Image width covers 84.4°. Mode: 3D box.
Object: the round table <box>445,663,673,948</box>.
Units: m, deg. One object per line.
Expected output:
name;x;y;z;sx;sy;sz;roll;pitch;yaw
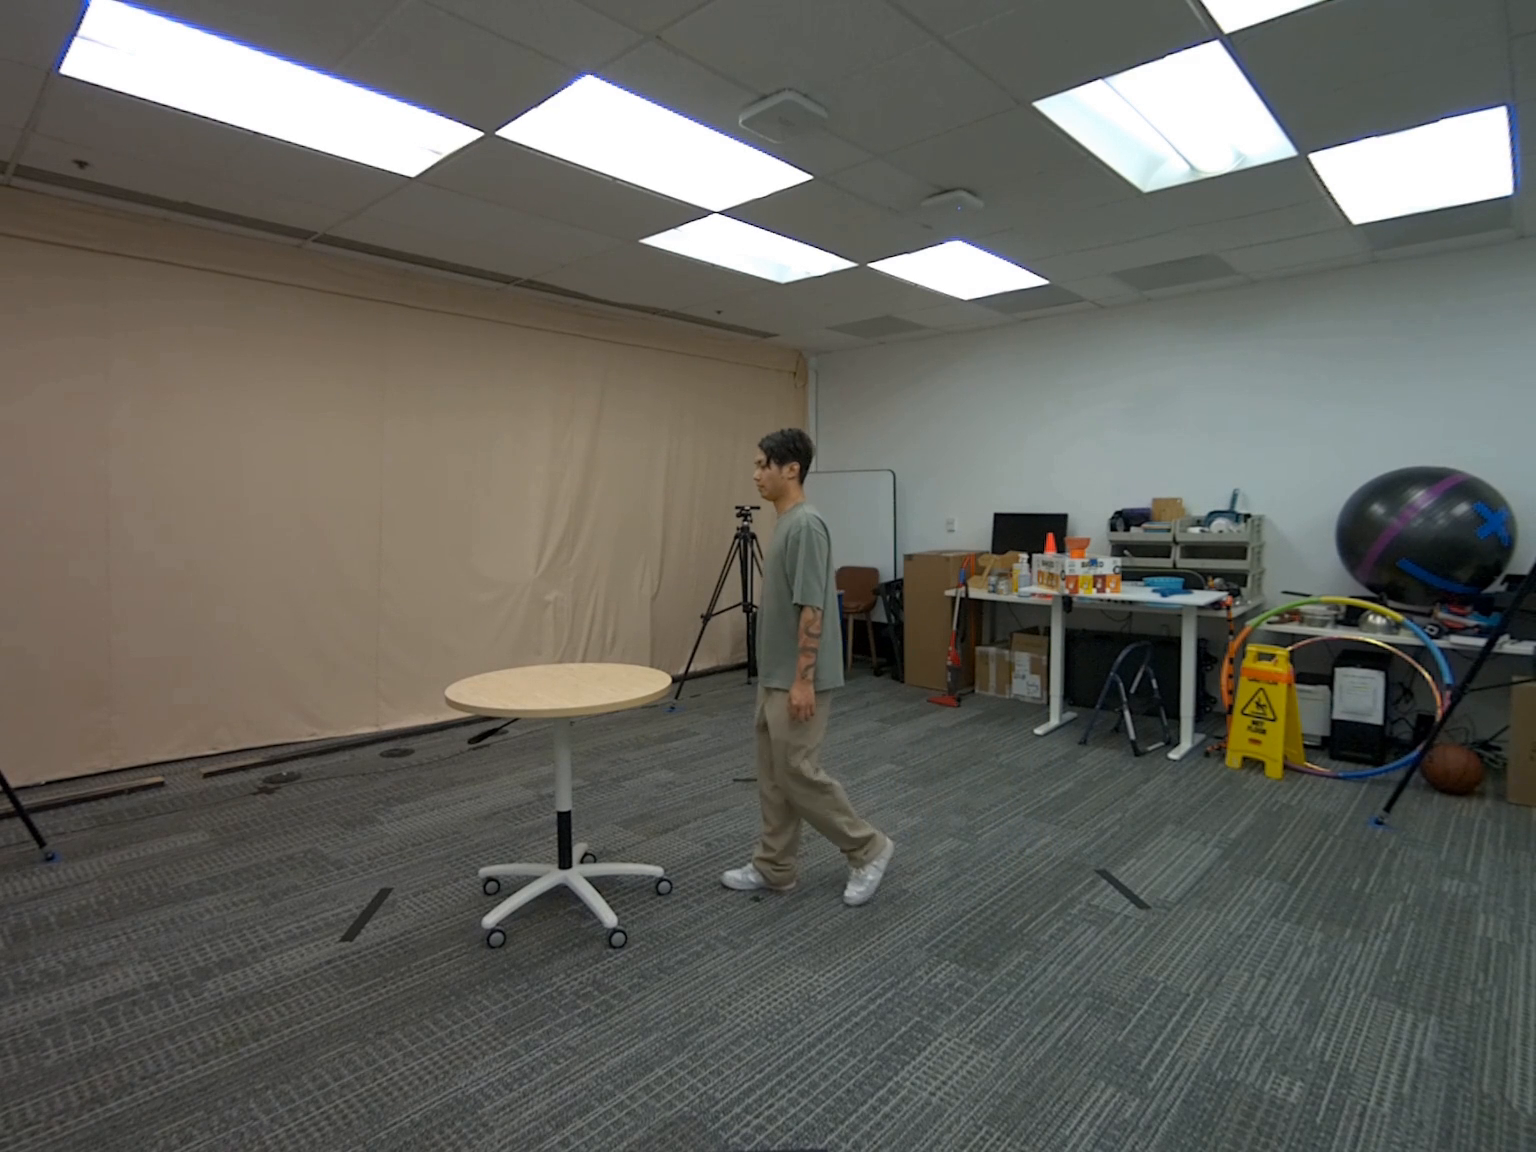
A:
round table;-0.705;0.763;2.937;0.784;0.785;0.788;-1;4;-2
